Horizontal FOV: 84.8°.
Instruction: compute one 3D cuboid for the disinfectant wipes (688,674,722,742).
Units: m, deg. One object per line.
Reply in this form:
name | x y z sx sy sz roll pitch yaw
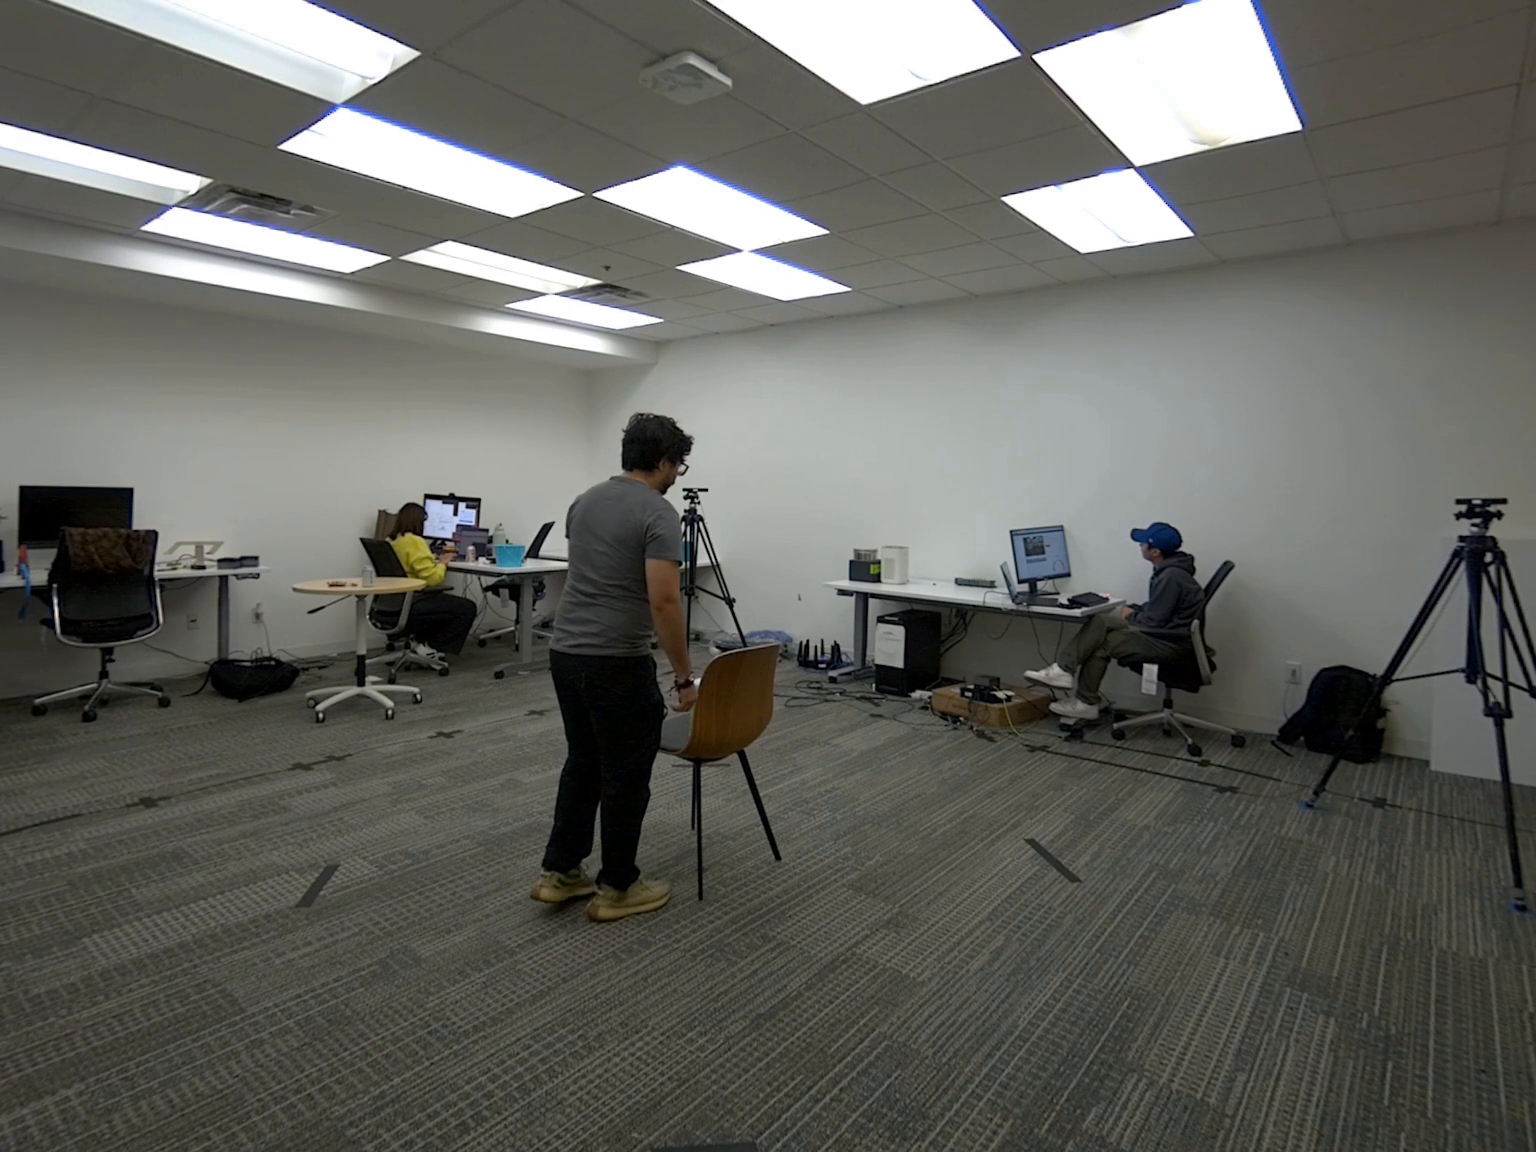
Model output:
disinfectant wipes | -0.237 0.488 3.125 0.118 0.216 0.118 1 4 -2
